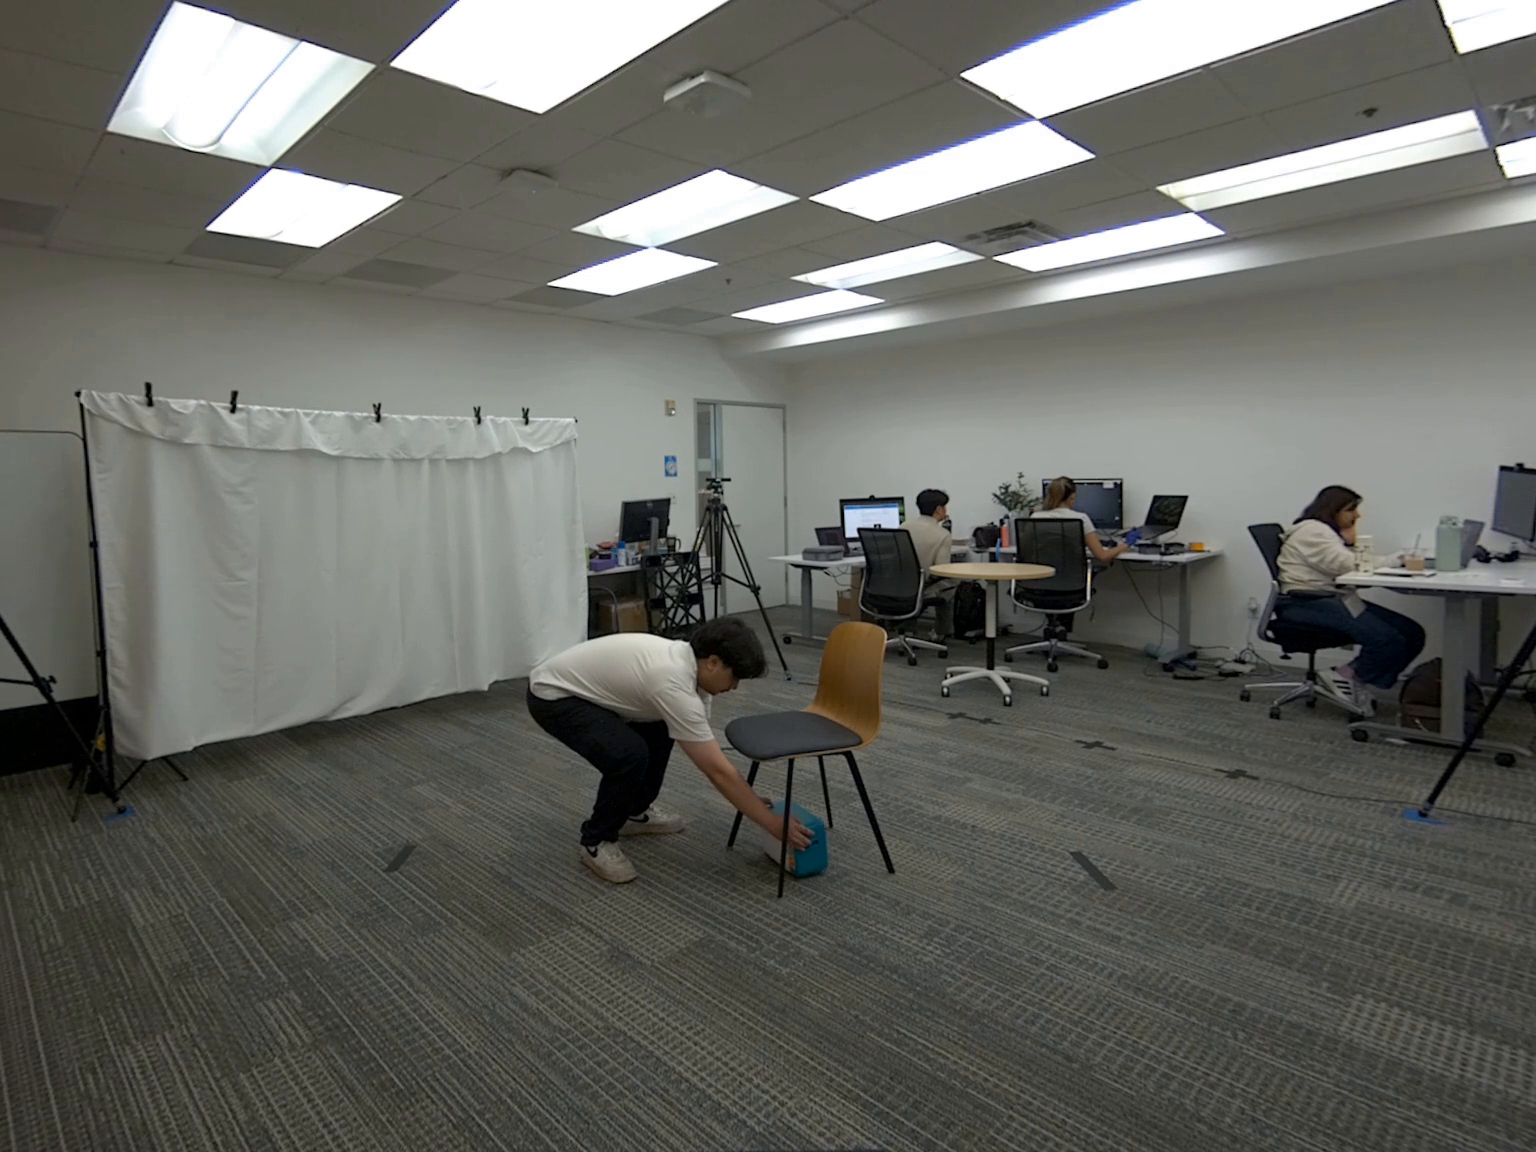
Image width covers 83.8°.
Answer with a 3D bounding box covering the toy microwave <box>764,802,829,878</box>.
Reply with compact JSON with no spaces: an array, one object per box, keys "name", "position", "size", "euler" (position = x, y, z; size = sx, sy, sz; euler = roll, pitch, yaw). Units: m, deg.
[{"name":"toy microwave","position":[0.081,0.941,3.086],"size":[0.149,0.183,0.293],"euler":[-8,6,-25]}]
